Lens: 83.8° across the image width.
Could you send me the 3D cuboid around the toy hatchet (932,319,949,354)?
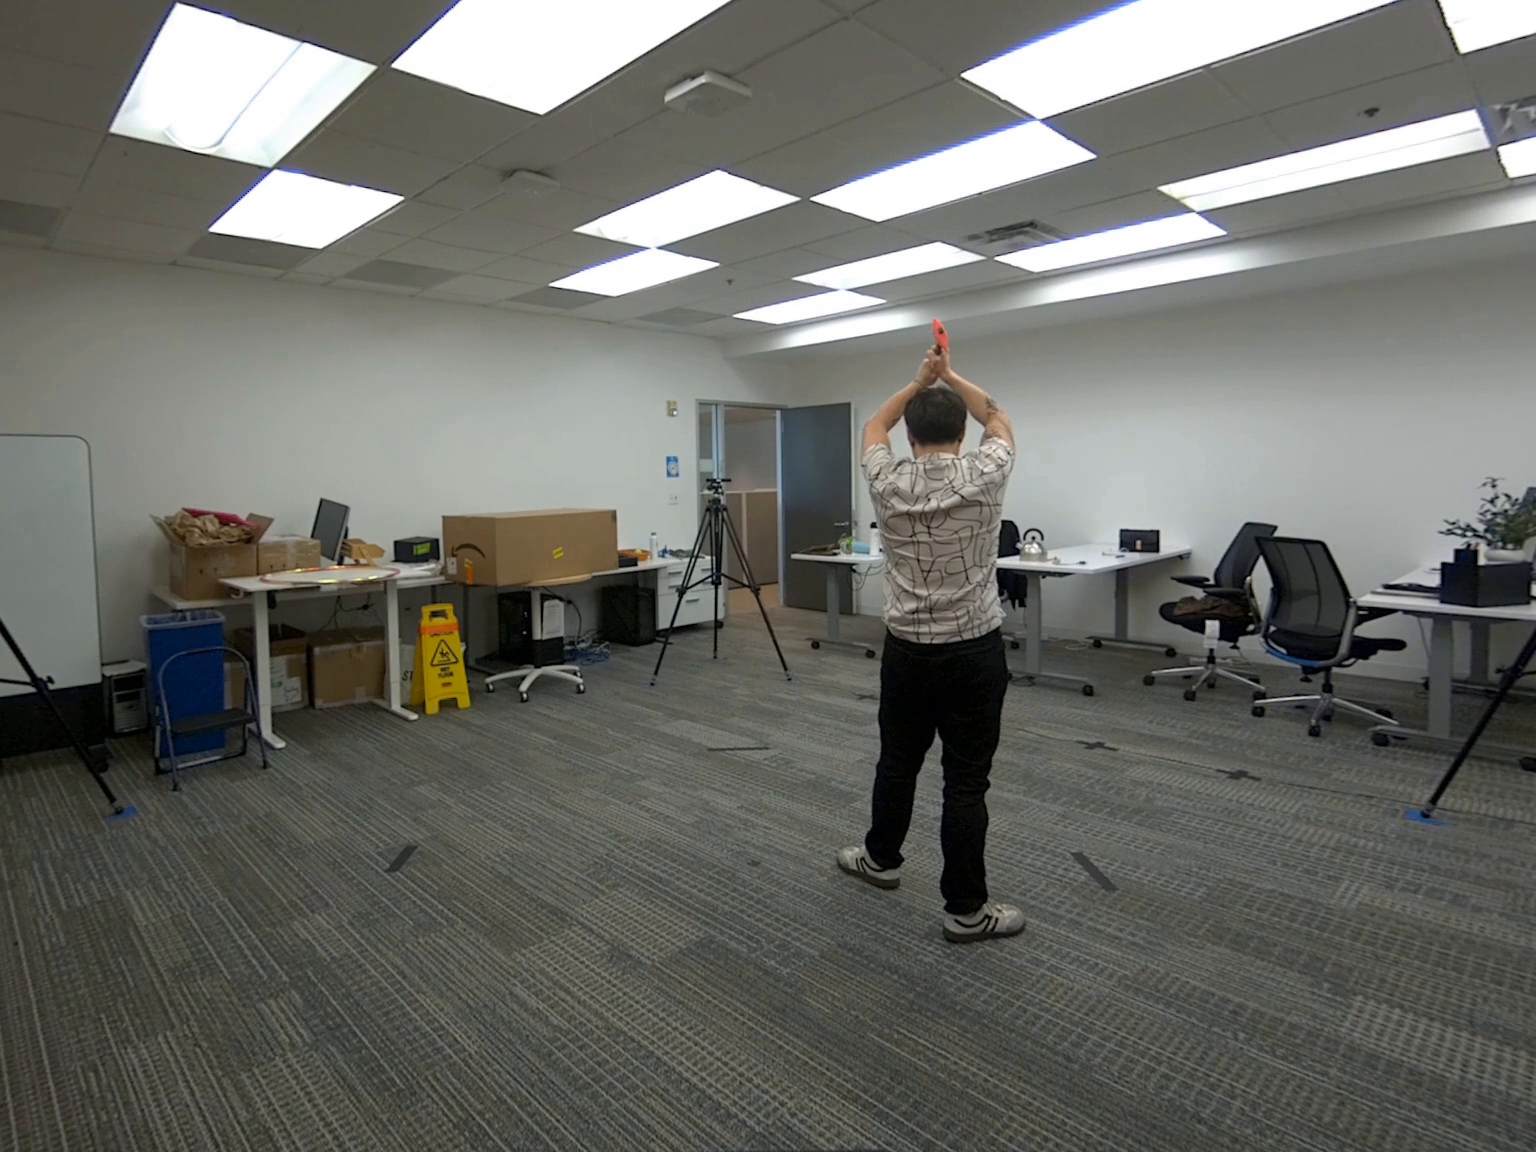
[{"bbox_3d":[0.562,-0.766,2.829,0.030,0.132,0.267,-15,-6,3],"label":"toy hatchet"}]
